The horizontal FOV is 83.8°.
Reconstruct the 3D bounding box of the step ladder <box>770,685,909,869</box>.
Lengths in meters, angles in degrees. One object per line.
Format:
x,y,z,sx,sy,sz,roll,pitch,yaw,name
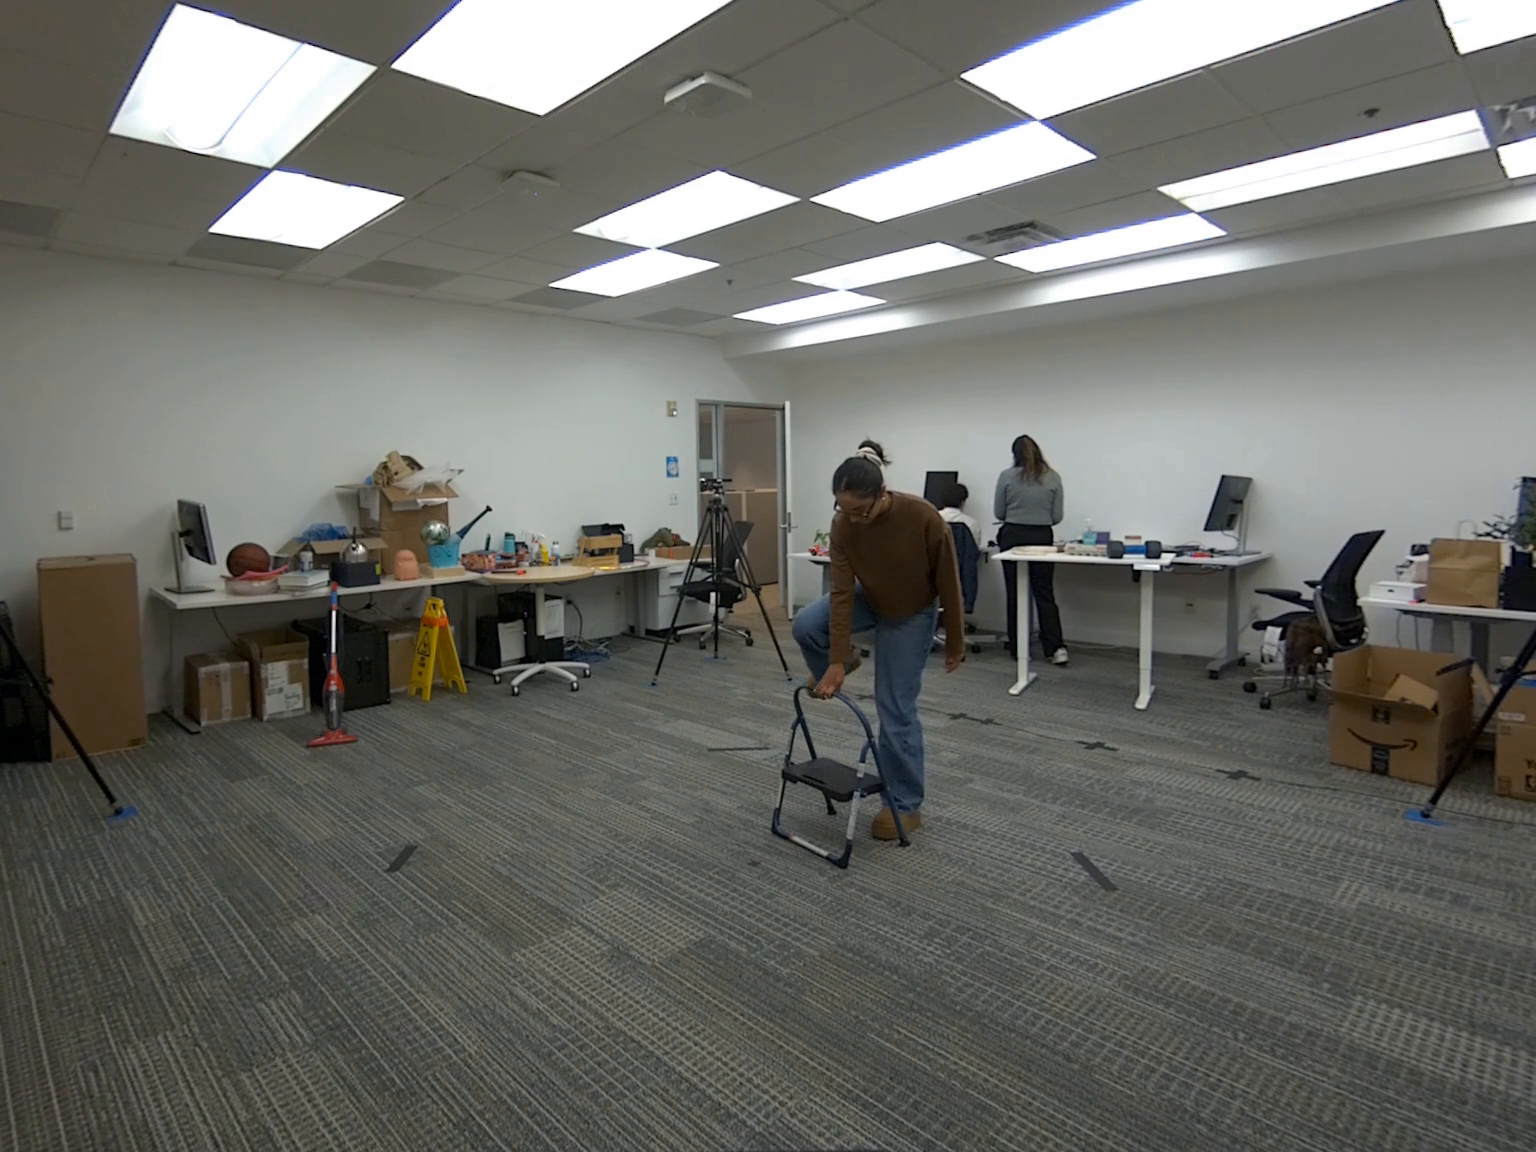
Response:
0.268,0.717,3.289,0.340,0.604,0.444,-5,6,-39,step ladder
